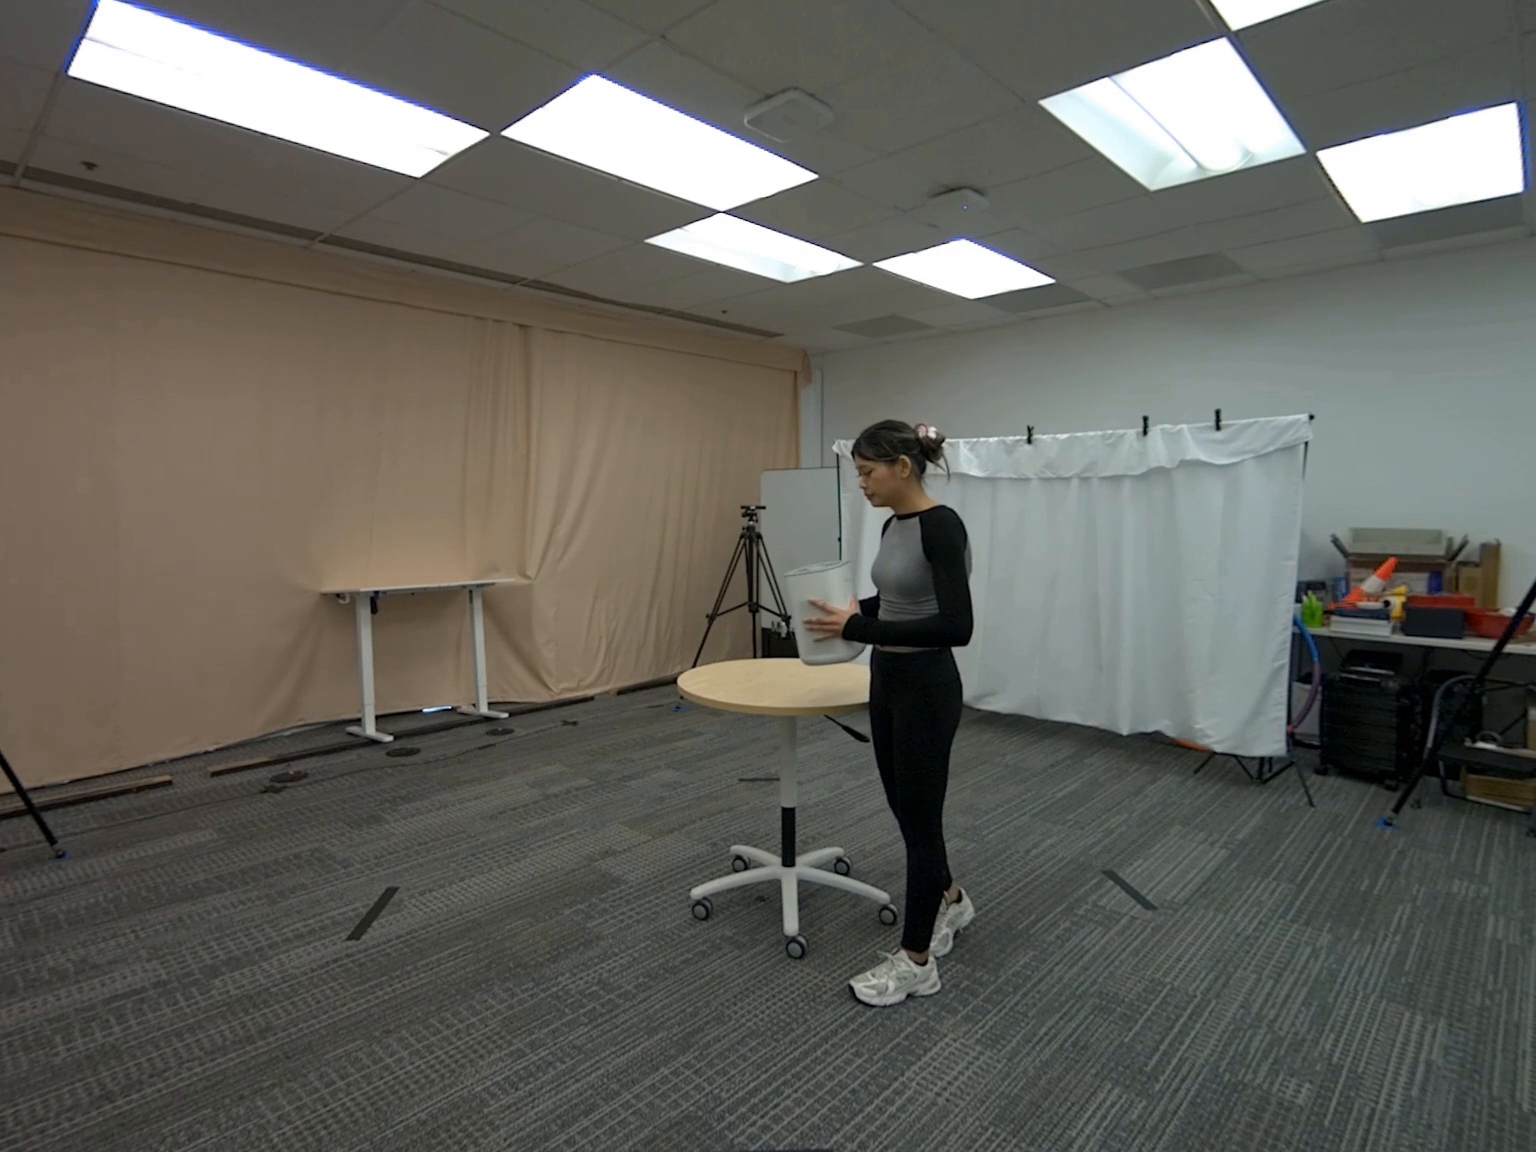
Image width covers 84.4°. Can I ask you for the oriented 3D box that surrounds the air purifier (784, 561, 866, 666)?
[{"bbox_3d":[0.164,0.106,2.363,0.175,0.264,0.168,-10,4,26],"label":"air purifier"}]
